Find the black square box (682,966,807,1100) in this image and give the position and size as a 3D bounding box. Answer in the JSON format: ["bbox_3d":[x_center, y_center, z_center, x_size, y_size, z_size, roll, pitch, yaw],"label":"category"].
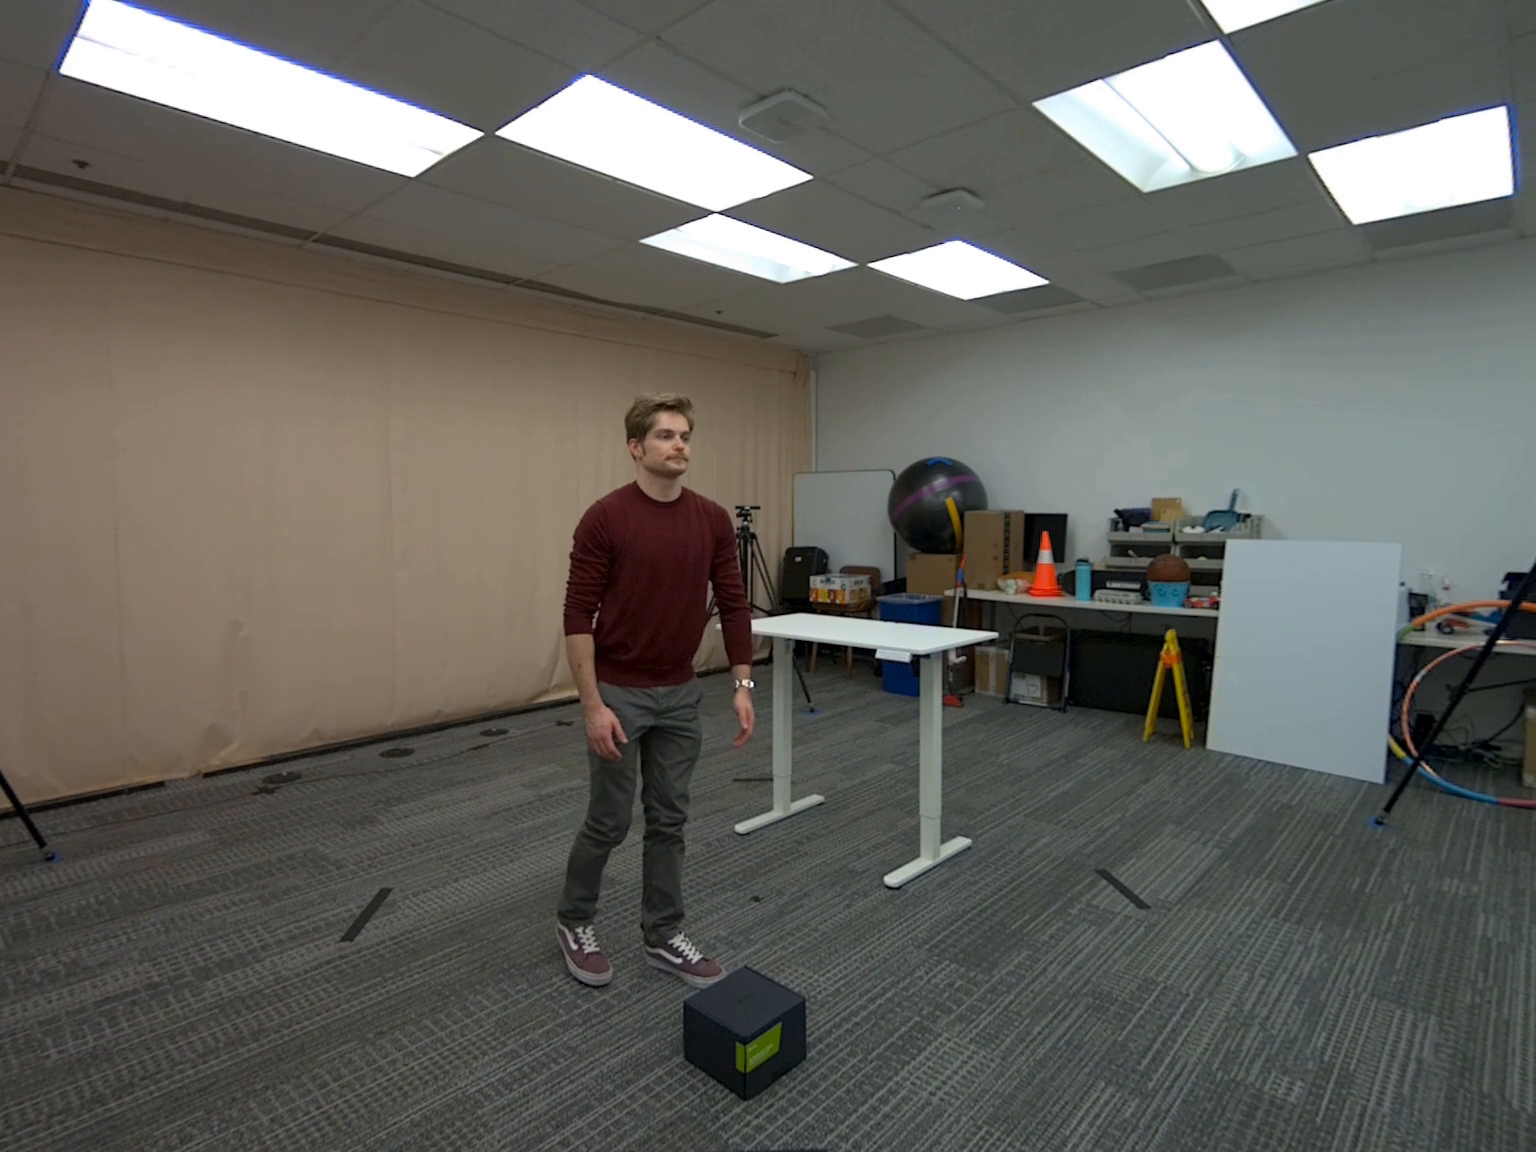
[{"bbox_3d":[-0.053,1.138,2.110,0.224,0.155,0.221,4,6,43],"label":"black square box"}]
